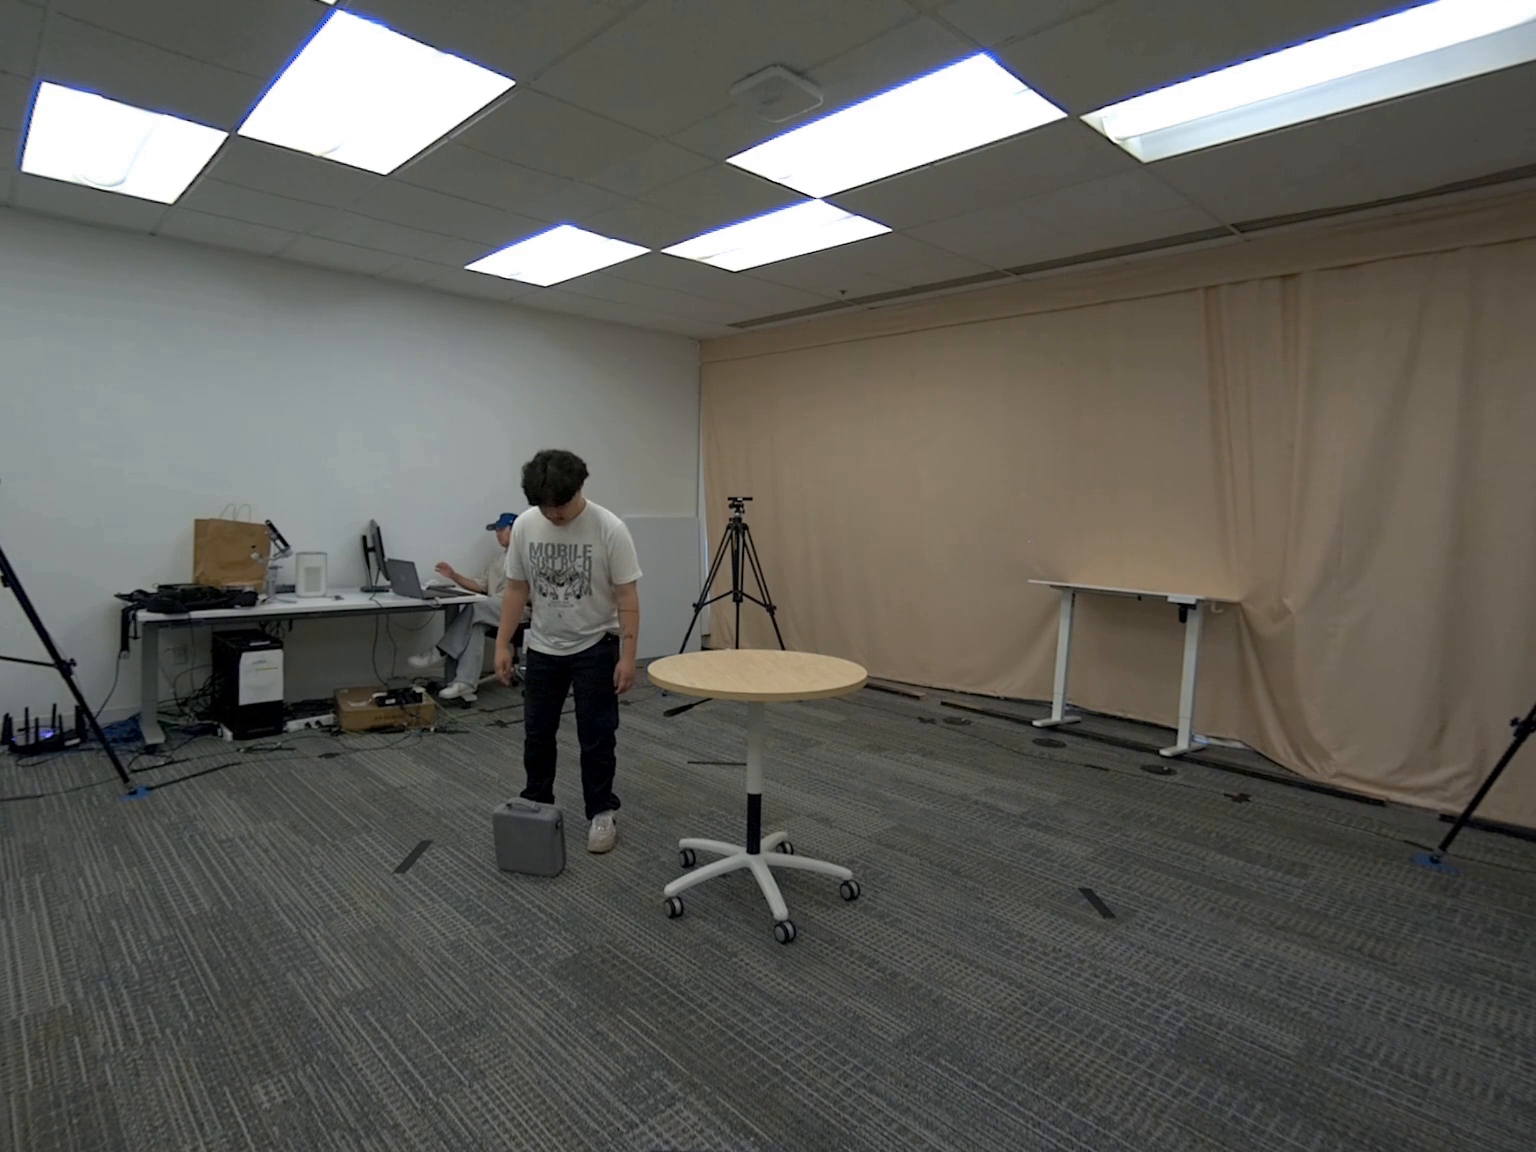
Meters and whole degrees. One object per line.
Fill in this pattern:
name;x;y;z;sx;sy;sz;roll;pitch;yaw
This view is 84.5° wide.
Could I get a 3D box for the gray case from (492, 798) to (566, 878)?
gray case;-0.888;0.973;3.082;0.260;0.257;0.104;3;16;13
